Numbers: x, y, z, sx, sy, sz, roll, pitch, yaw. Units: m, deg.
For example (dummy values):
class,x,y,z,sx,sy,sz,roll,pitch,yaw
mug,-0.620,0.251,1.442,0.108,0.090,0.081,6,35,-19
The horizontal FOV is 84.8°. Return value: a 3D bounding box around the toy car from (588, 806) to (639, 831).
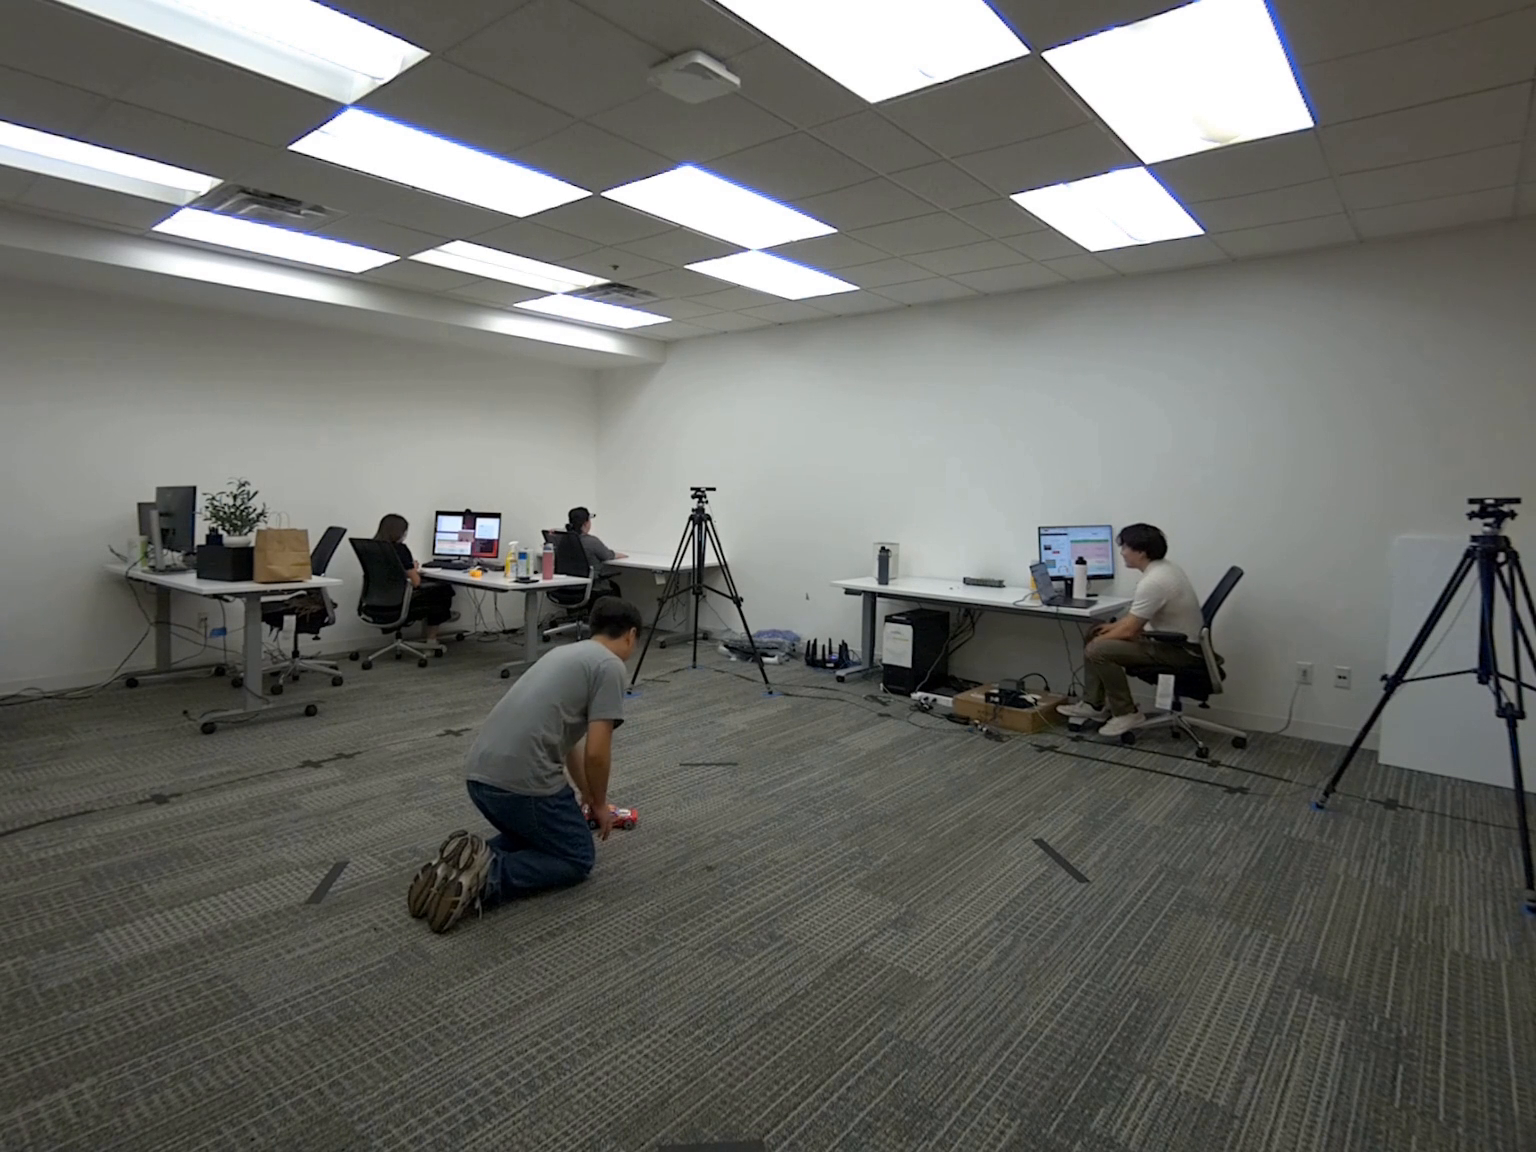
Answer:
class,x,y,z,sx,sy,sz,roll,pitch,yaw
toy car,-0.679,0.992,3.497,0.253,0.083,0.131,11,4,-5
